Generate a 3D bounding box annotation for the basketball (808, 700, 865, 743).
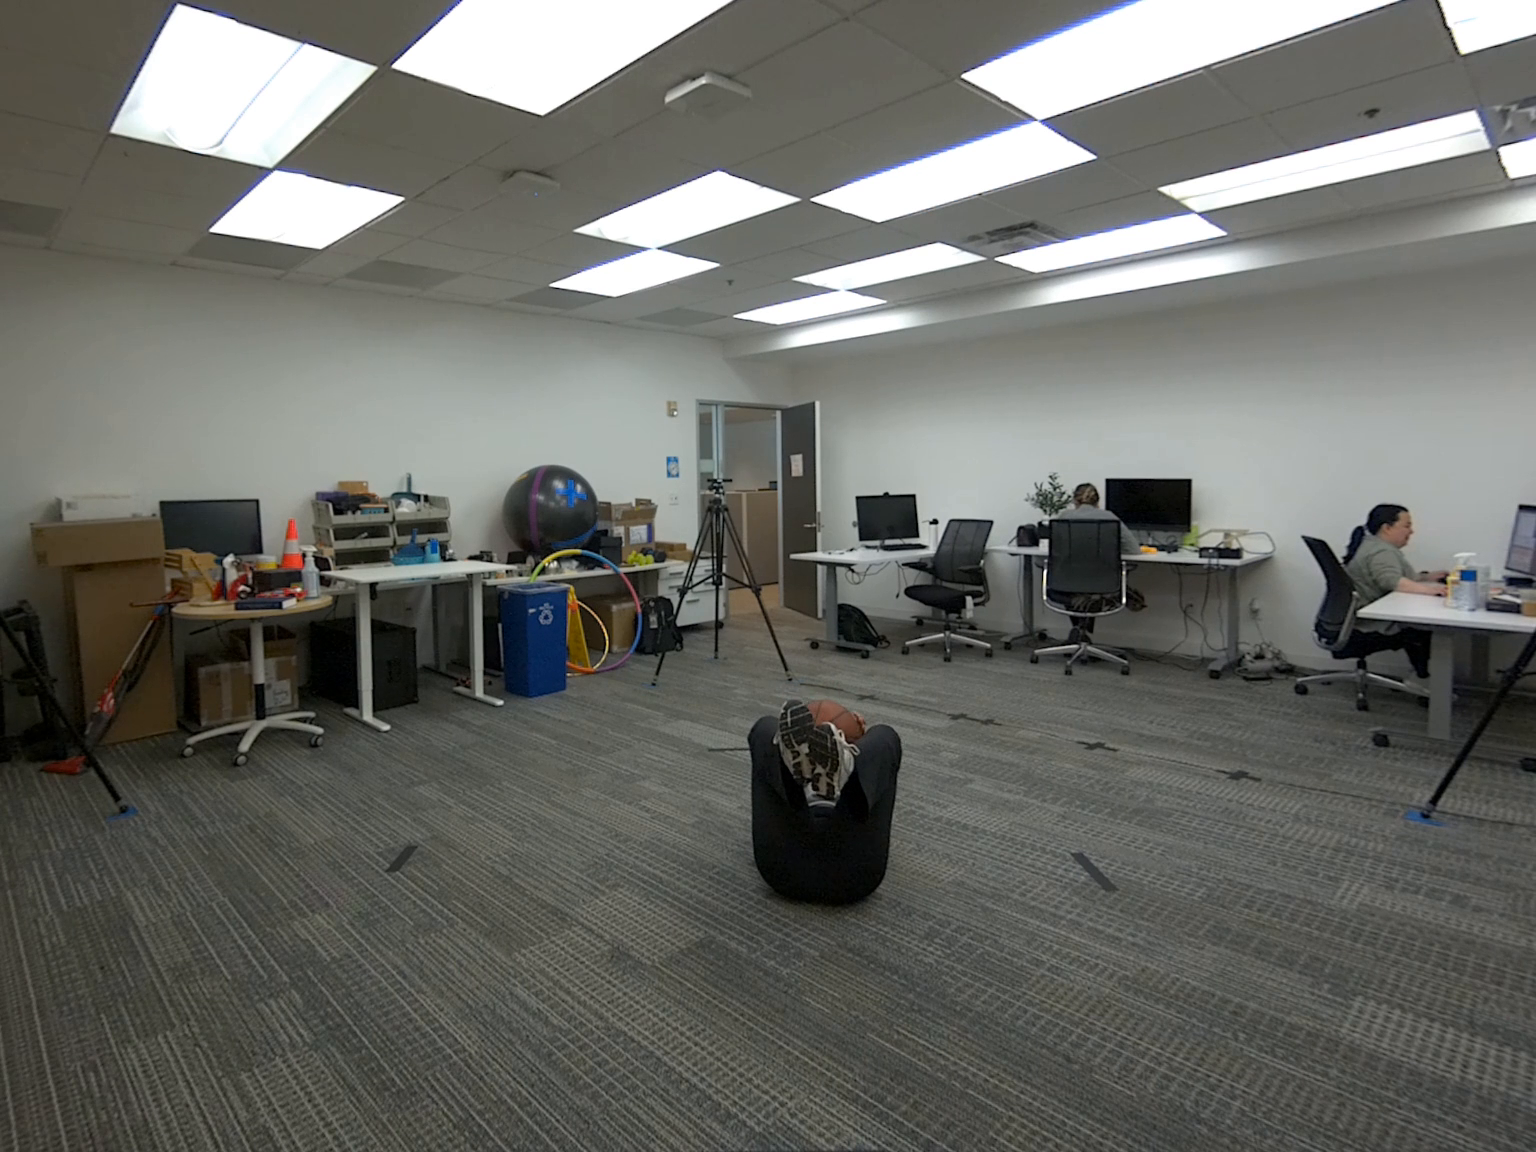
[{"bbox_3d":[0.182,0.526,2.775,0.236,0.235,0.237,-1,4,-2],"label":"basketball"}]
